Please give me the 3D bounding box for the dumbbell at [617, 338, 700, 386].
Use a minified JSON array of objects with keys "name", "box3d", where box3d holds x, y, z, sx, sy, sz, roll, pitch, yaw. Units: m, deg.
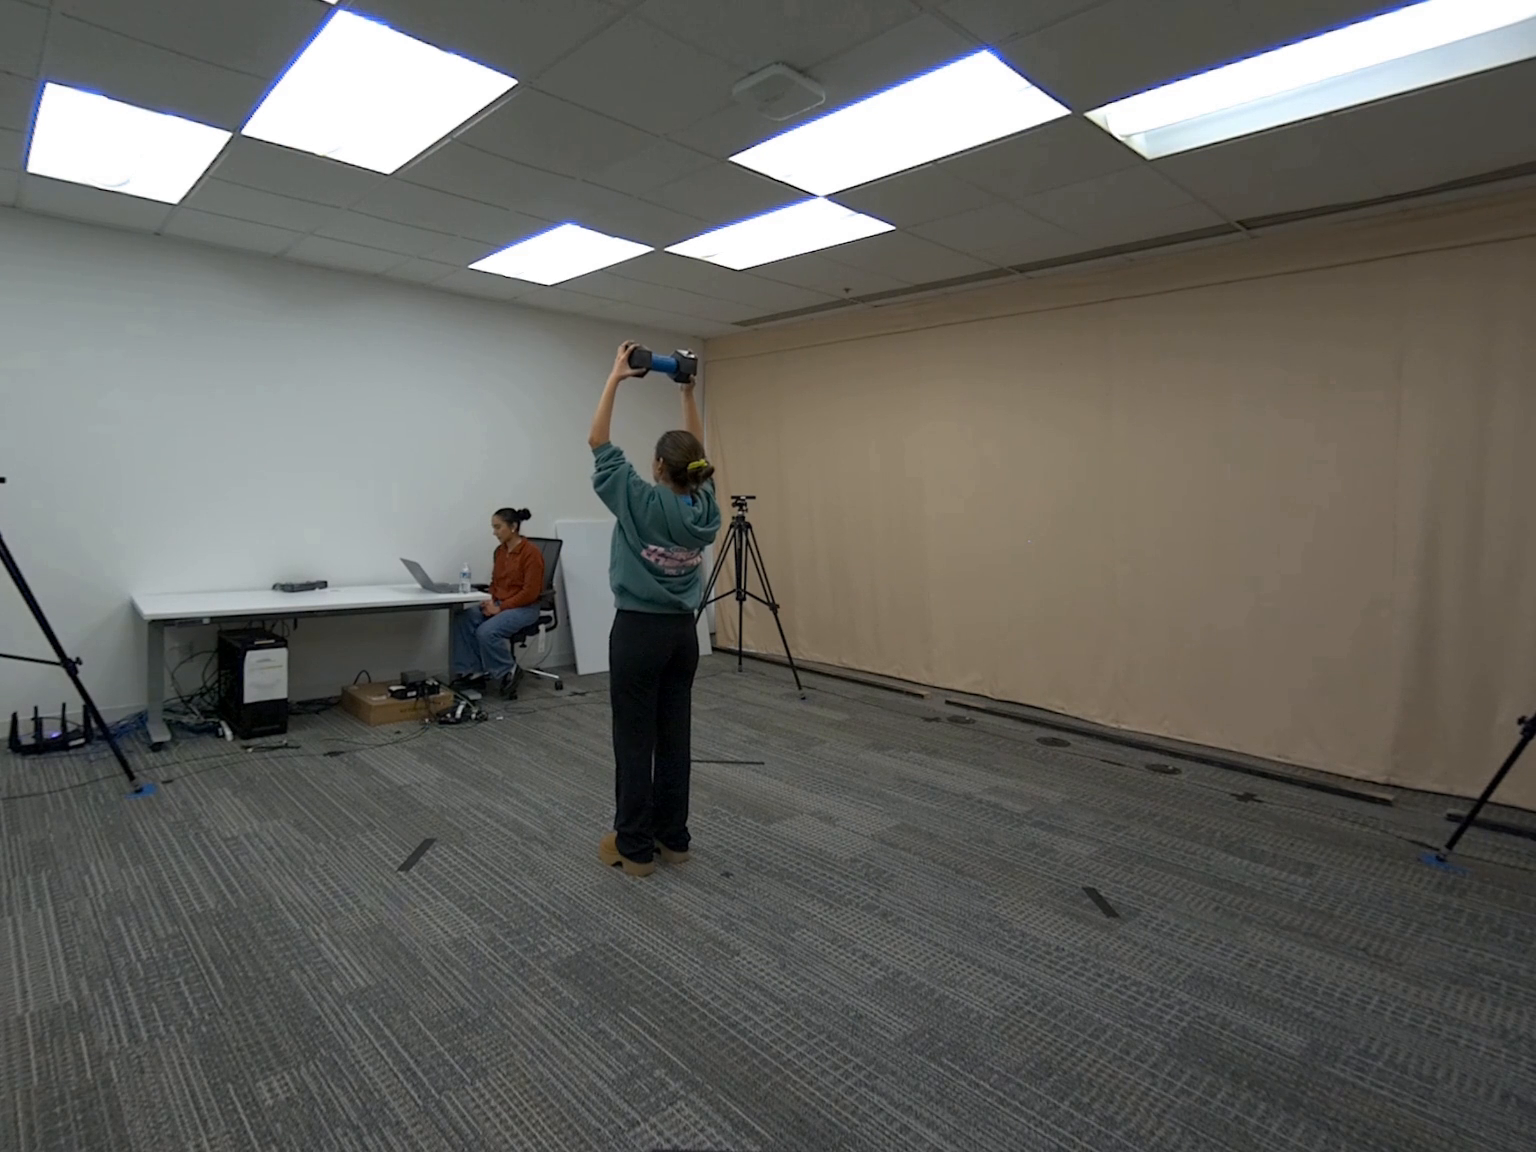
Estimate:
[{"name":"dumbbell","box3d":[-0.401,-0.782,3.103,0.287,0.122,0.111,-3,5,-43]}]
